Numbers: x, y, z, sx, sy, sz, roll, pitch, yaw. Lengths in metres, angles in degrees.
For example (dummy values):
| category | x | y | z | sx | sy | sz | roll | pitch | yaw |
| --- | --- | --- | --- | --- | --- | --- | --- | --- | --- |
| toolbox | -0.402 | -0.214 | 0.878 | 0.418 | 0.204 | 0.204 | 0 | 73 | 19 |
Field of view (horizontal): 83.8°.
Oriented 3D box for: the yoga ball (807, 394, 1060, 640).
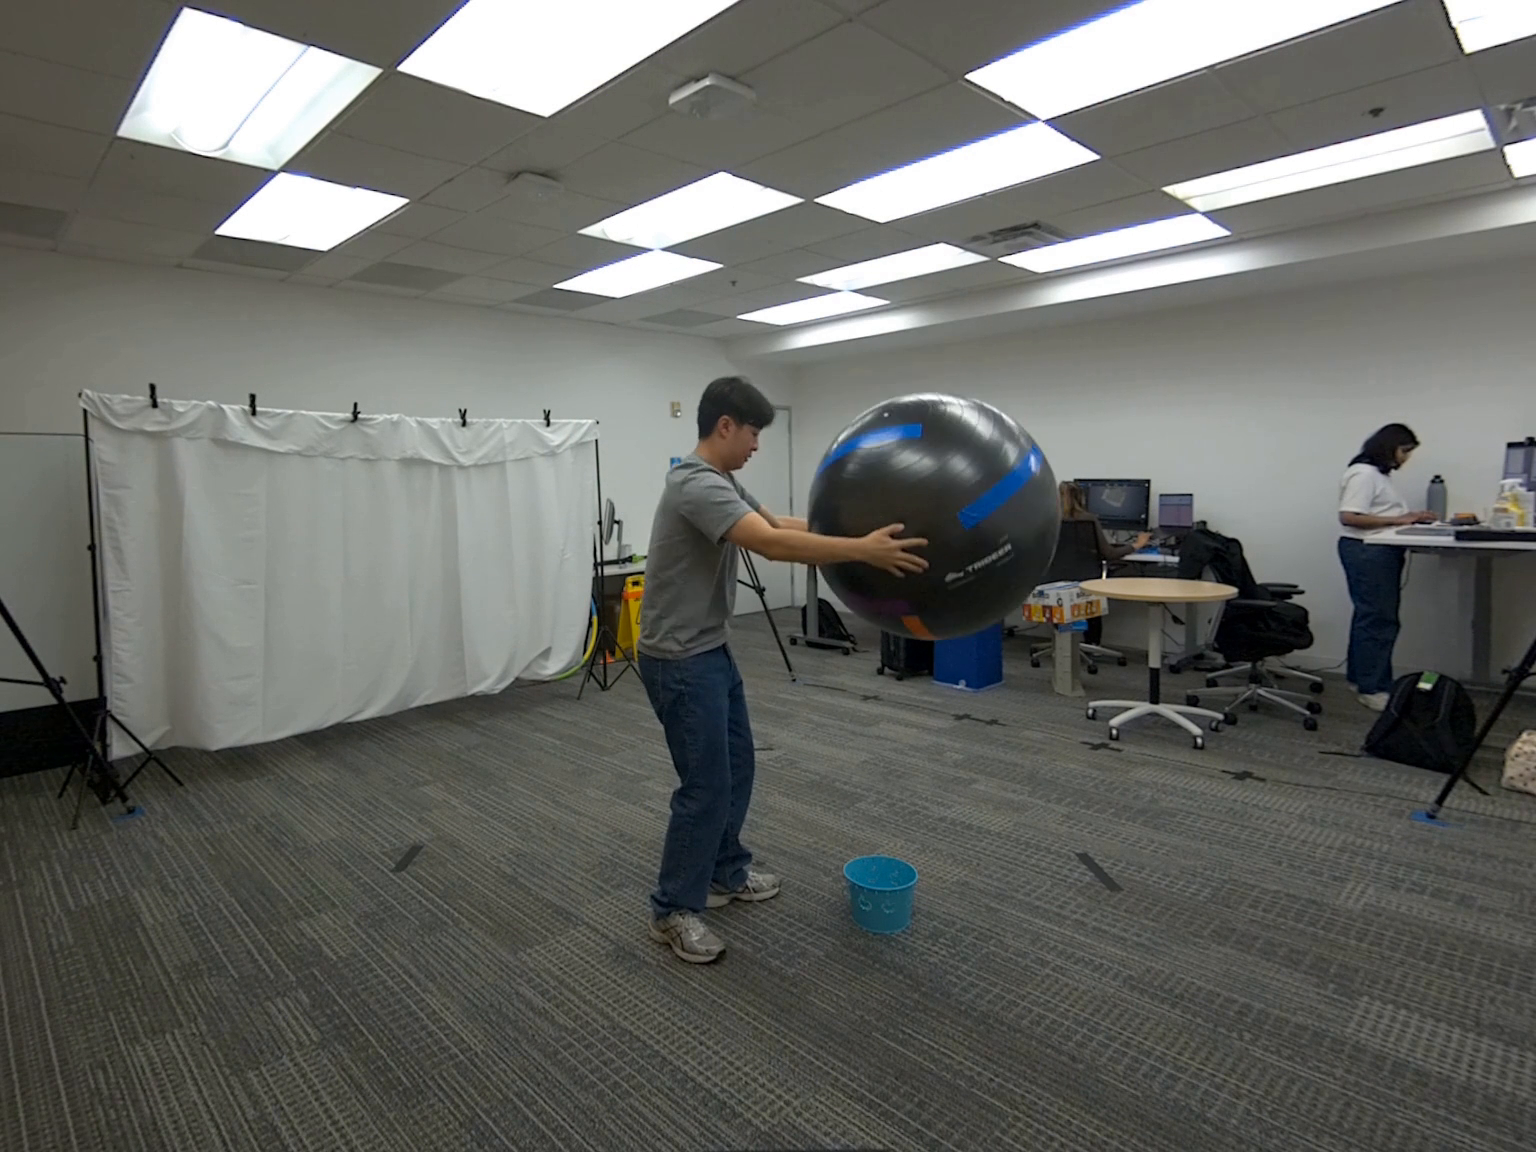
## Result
| category | x | y | z | sx | sy | sz | roll | pitch | yaw |
| --- | --- | --- | --- | --- | --- | --- | --- | --- | --- |
| yoga ball | 0.502 | -0.190 | 2.638 | 0.757 | 0.755 | 0.762 | -1 | 5 | -2 |
